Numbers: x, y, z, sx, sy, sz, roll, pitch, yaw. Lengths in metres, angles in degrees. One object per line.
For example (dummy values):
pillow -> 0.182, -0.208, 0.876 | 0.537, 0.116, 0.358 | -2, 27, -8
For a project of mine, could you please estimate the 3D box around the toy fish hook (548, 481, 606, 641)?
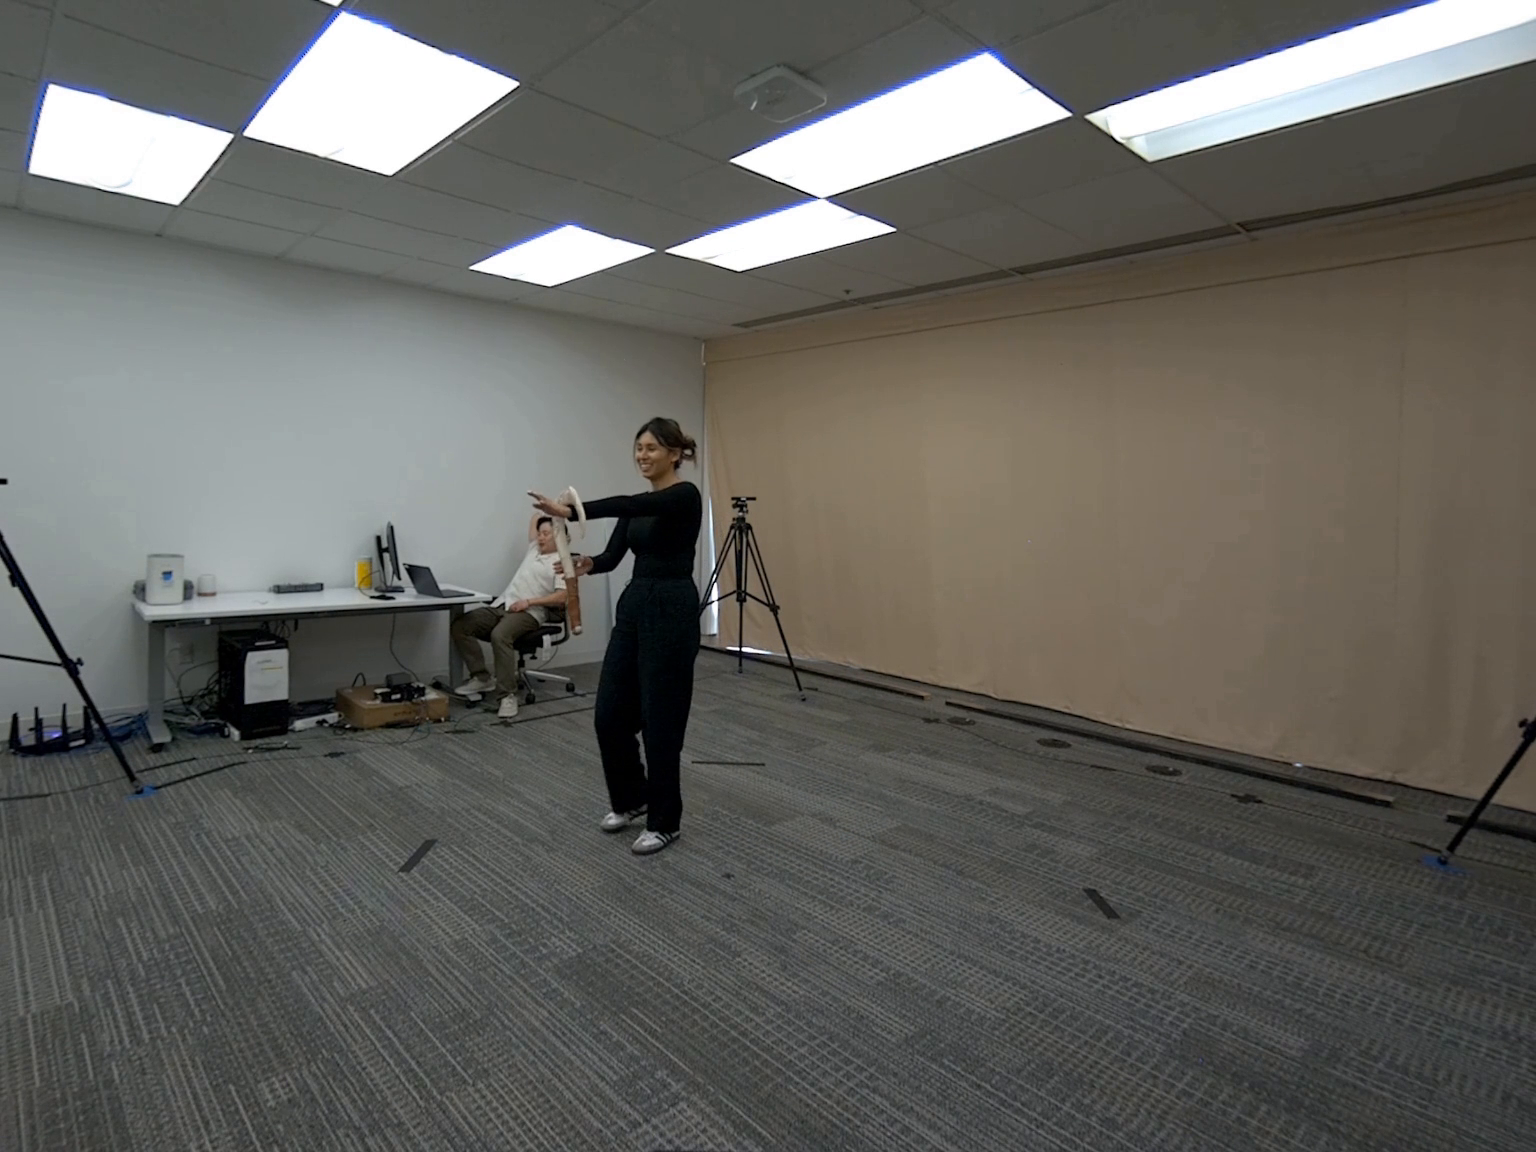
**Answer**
toy fish hook -> -0.666, -0.051, 2.913 | 0.047, 0.511, 0.227 | -4, -12, -35
